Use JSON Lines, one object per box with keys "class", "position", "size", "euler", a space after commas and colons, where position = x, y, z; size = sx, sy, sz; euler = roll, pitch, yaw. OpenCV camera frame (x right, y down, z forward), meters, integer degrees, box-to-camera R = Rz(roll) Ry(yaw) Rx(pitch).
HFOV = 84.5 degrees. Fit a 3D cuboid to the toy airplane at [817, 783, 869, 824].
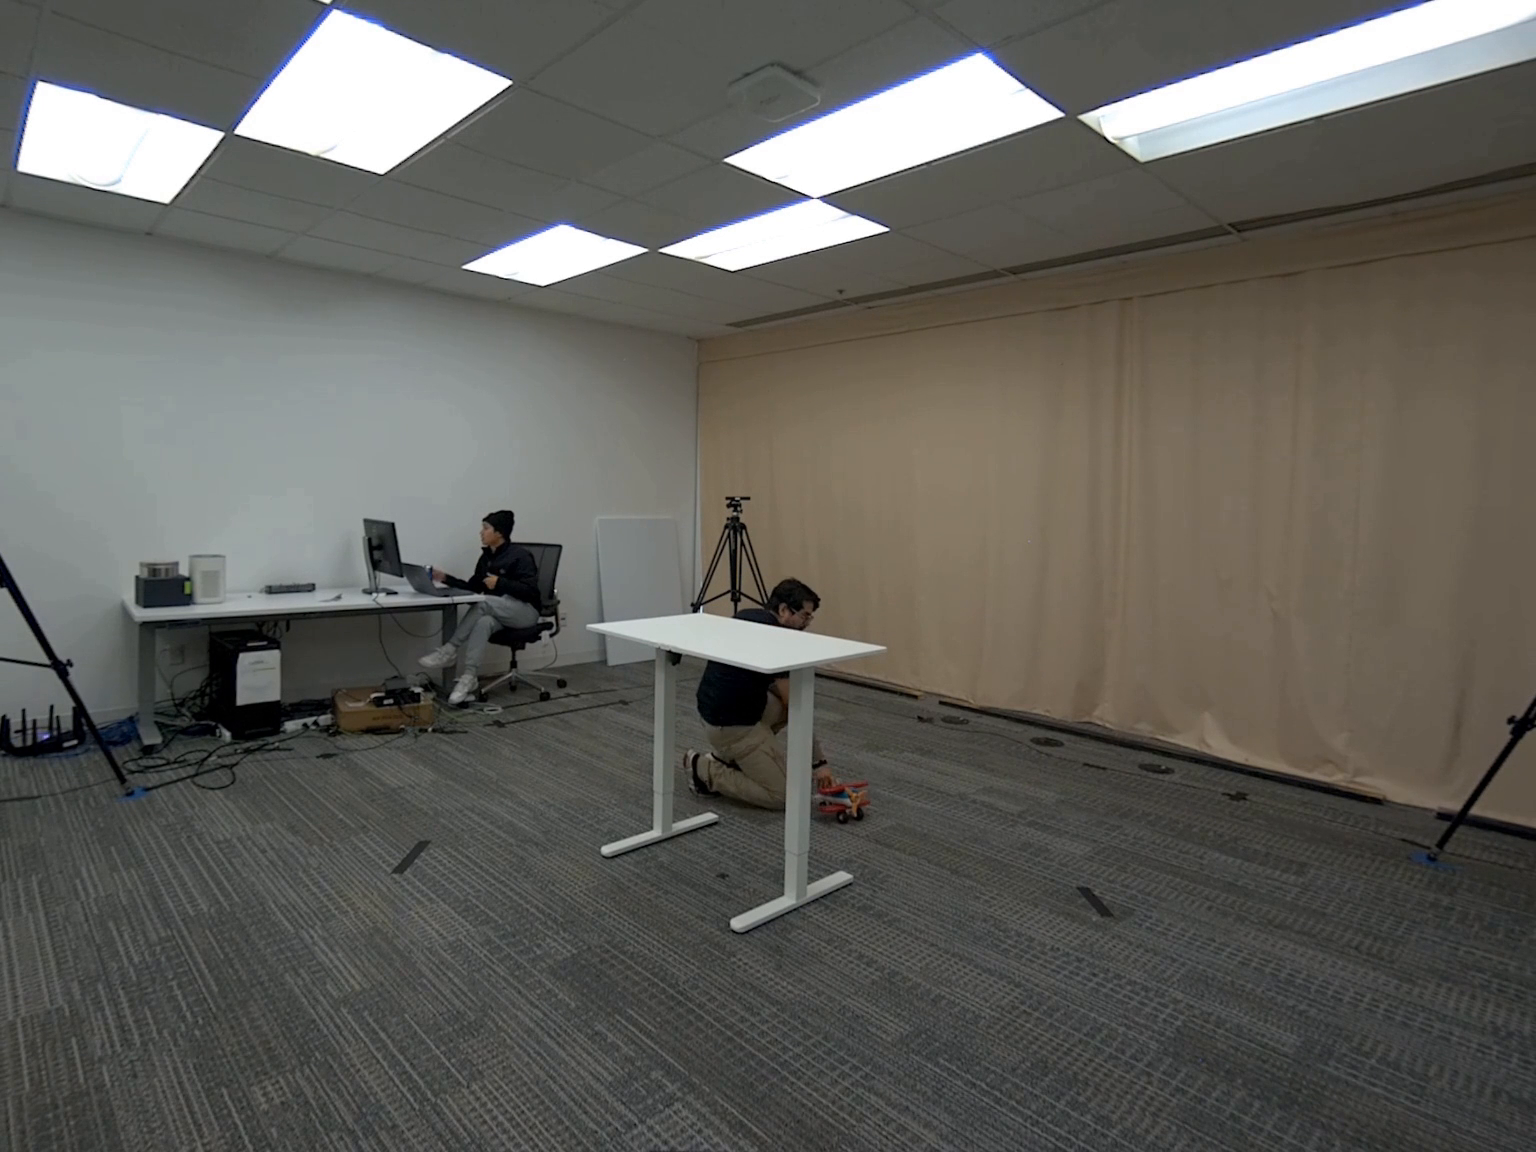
{"class": "toy airplane", "position": [0.294, 0.989, 3.729], "size": [0.265, 0.156, 0.246], "euler": [4, 5, 30]}
